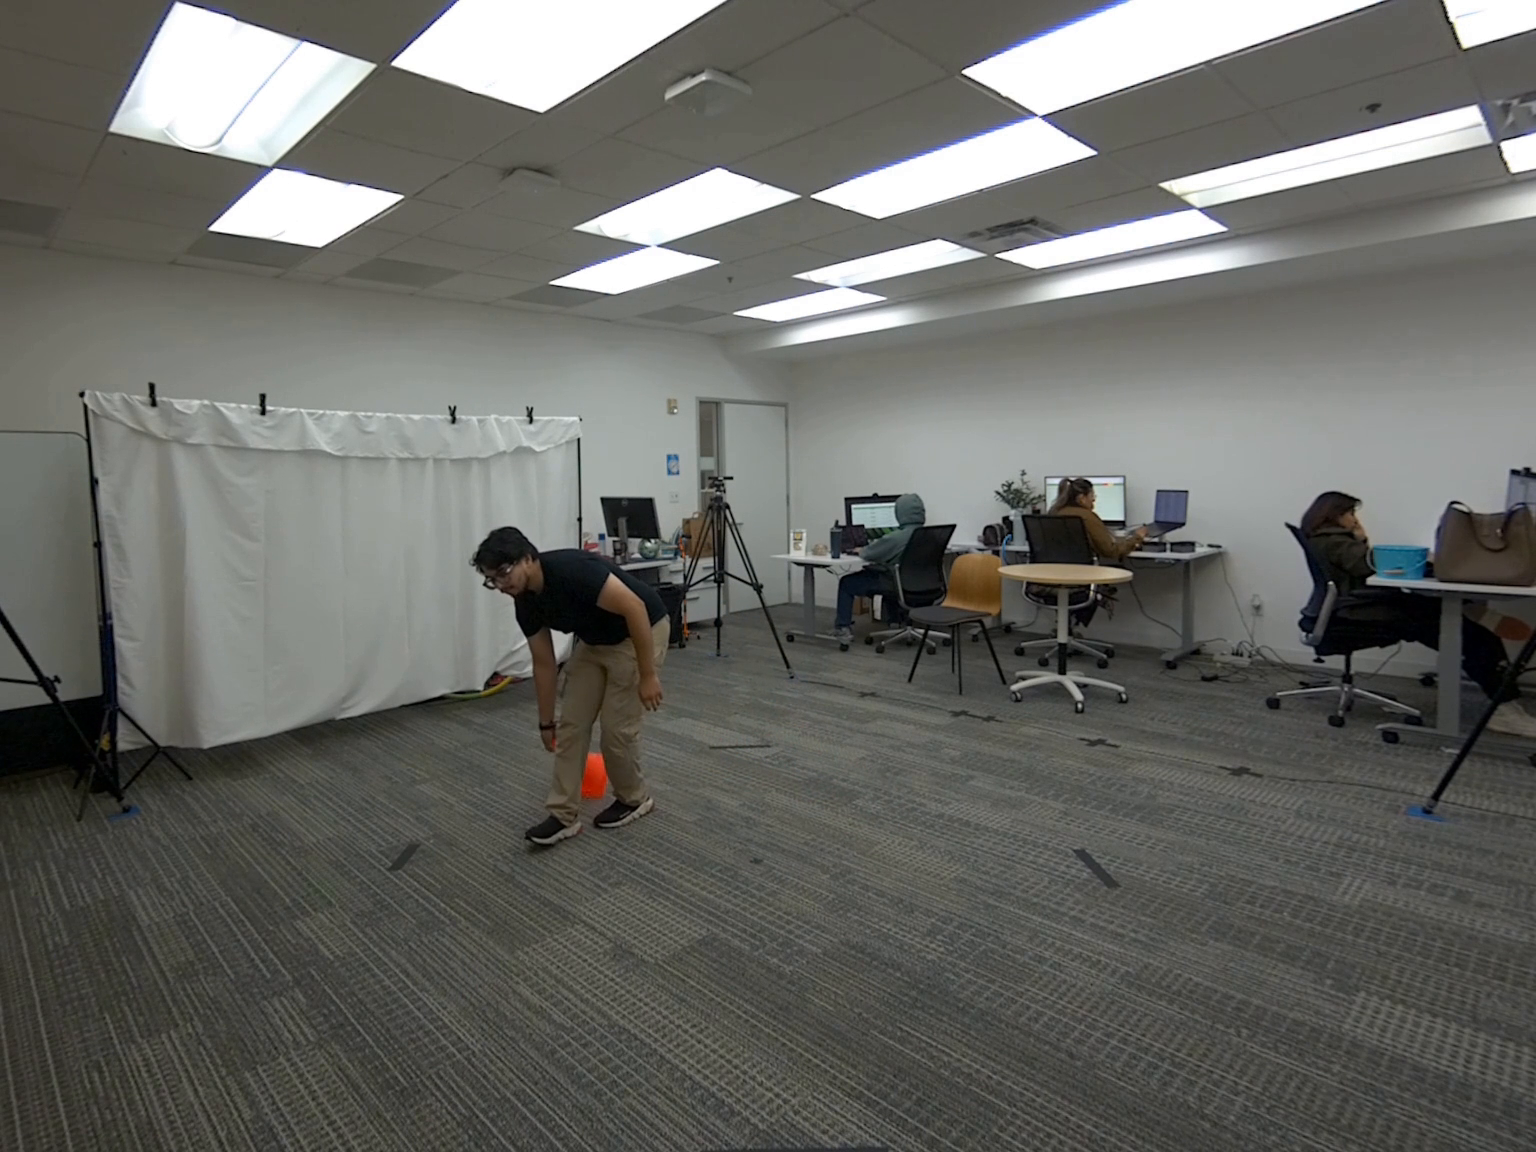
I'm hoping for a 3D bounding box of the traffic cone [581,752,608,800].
[{"bbox_3d":[-0.853,0.791,3.699,0.206,0.210,0.370,-9,-37,13],"label":"traffic cone"}]
